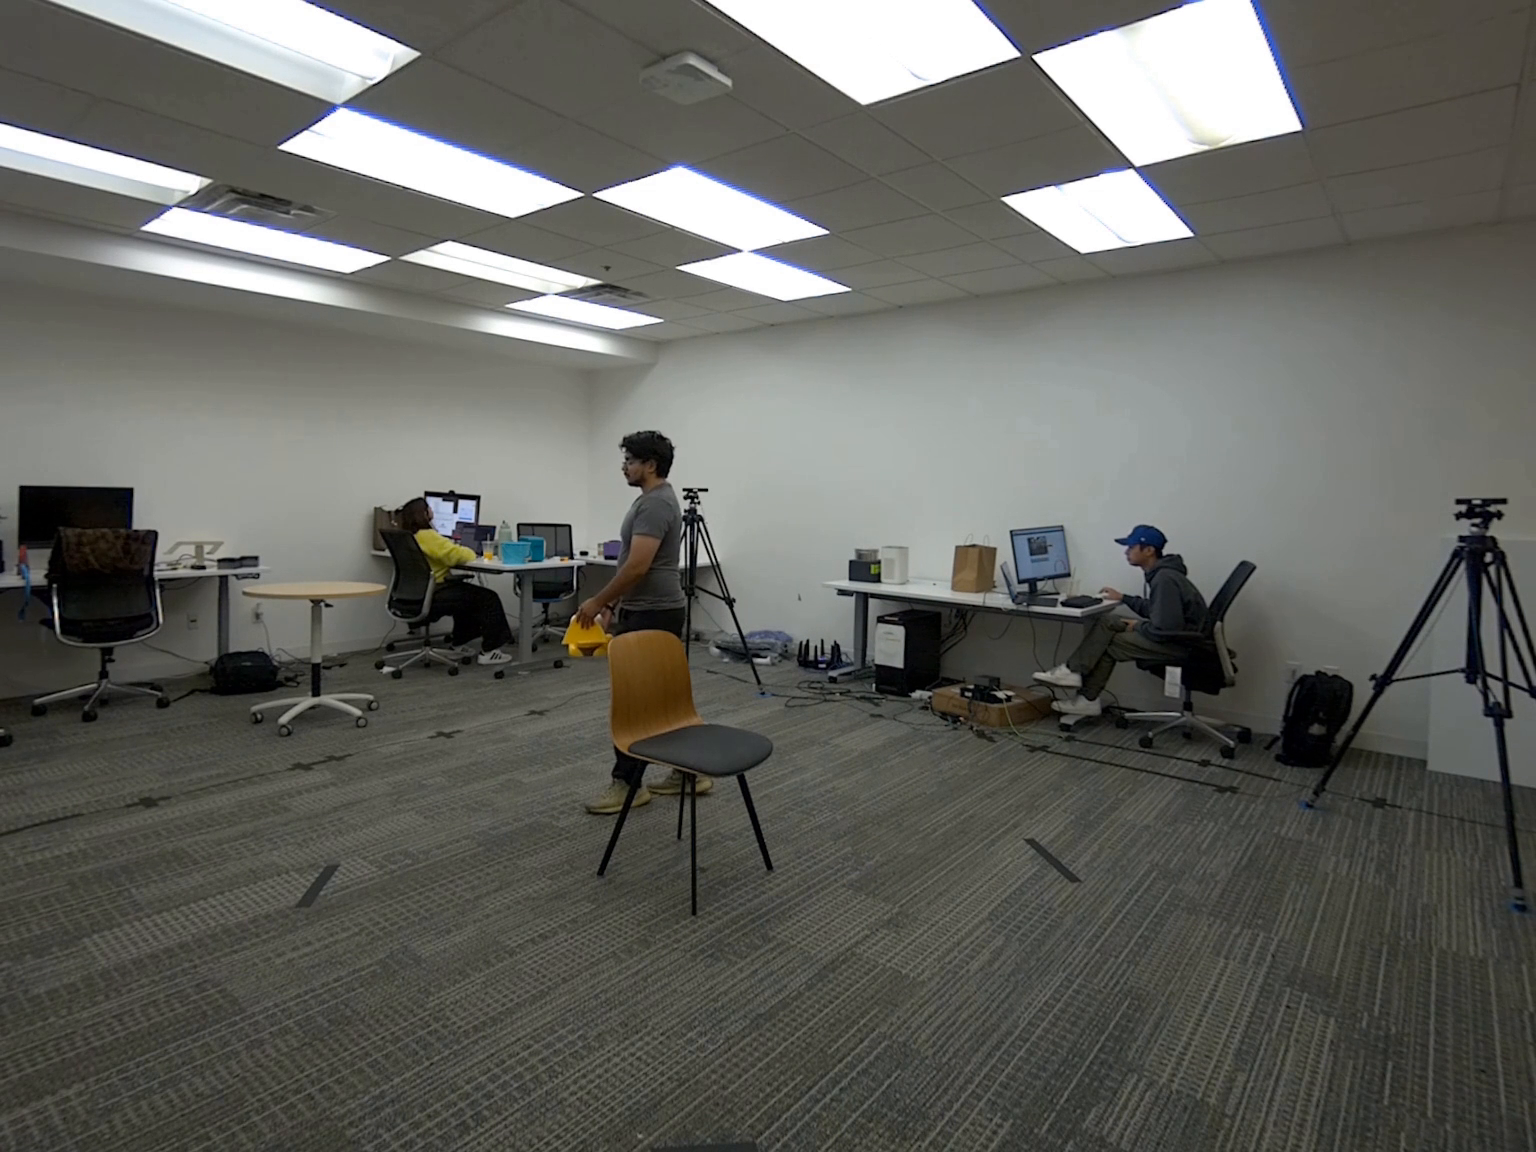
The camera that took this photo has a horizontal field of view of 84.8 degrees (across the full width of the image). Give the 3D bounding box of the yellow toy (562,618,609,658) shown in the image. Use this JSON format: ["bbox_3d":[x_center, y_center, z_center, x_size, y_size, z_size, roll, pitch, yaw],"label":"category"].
[{"bbox_3d":[-0.819,0.220,3.782,0.206,0.226,0.196,-3,22,4],"label":"yellow toy"}]
